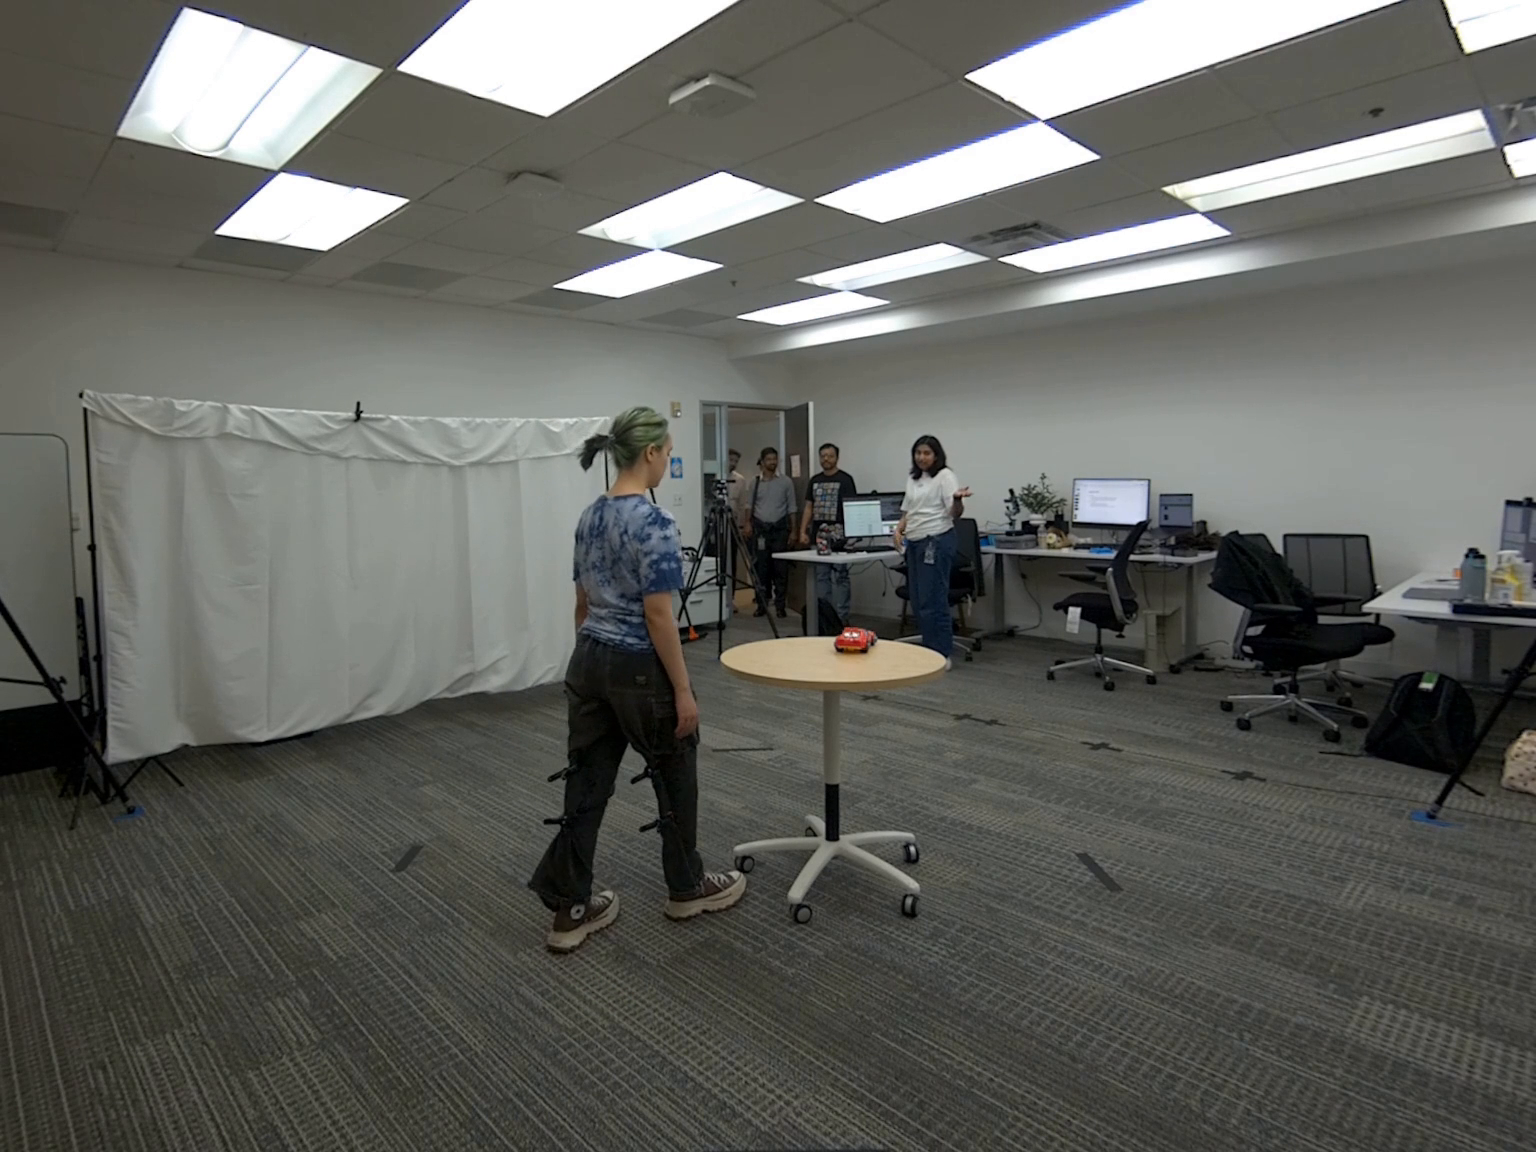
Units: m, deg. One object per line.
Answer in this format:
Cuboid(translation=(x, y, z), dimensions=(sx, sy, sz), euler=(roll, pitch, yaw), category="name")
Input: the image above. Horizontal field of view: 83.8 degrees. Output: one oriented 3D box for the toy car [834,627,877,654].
Cuboid(translation=(0.319, 0.232, 3.067), dimensions=(0.132, 0.084, 0.249), euler=(1, -5, 17), category="toy car")
